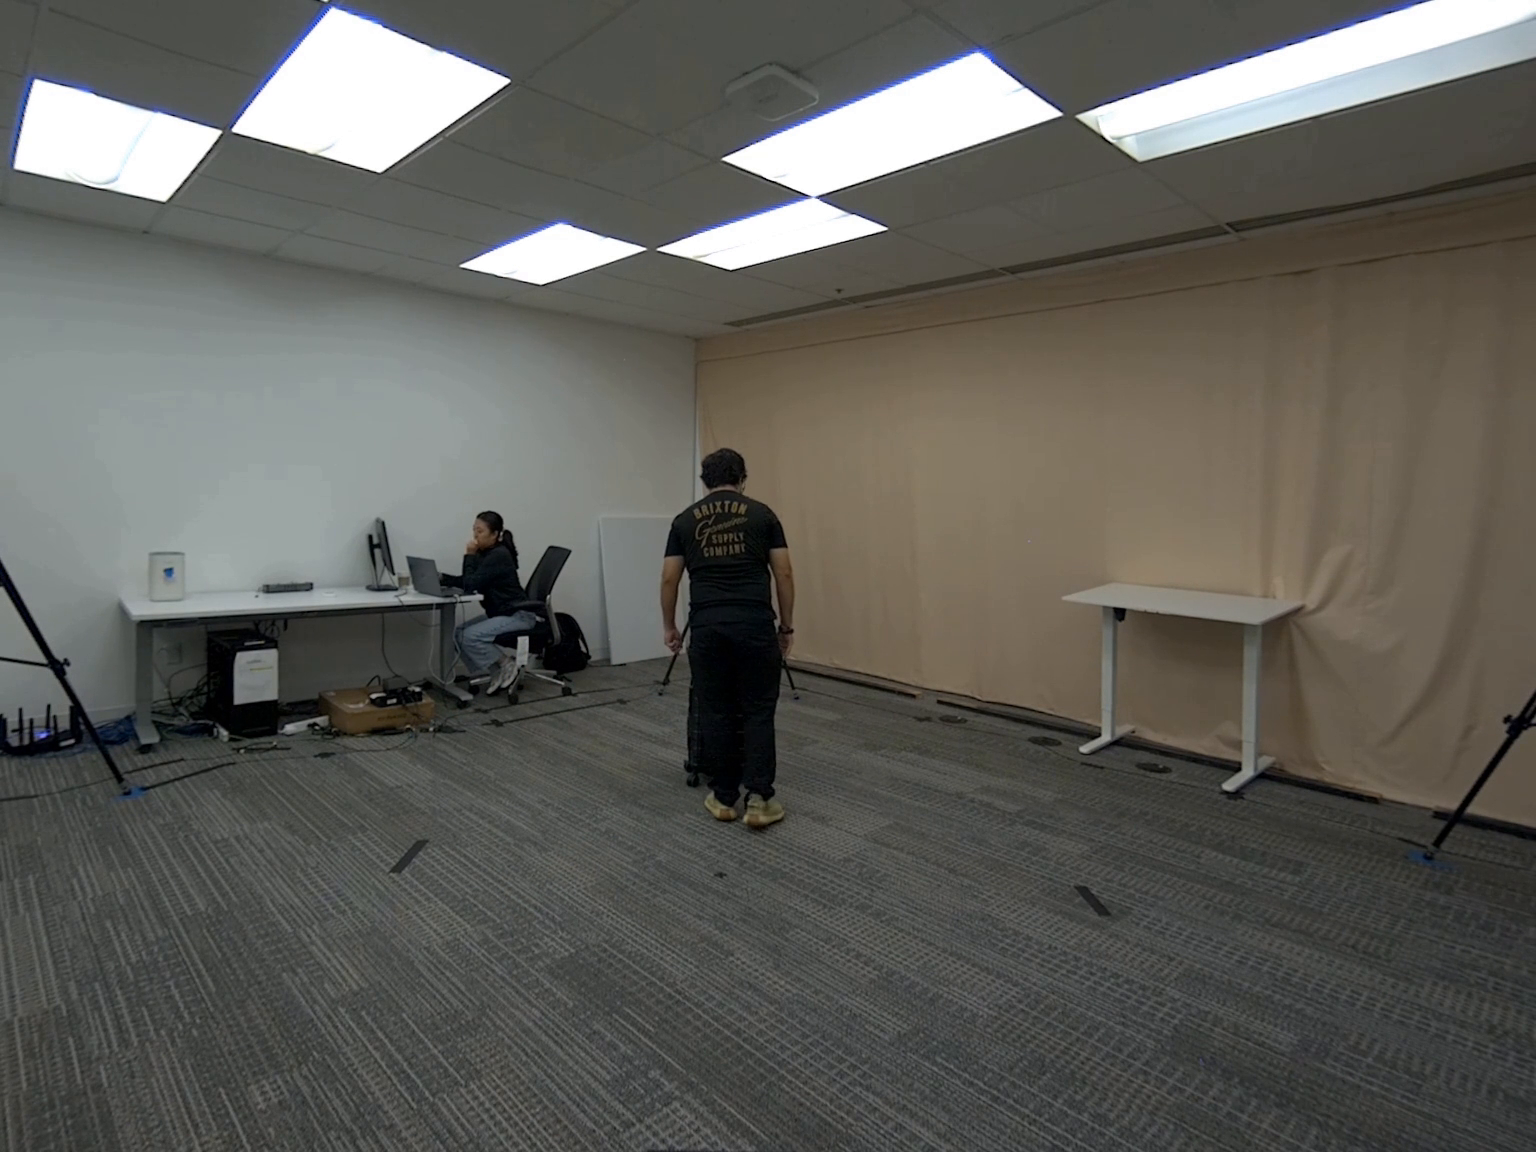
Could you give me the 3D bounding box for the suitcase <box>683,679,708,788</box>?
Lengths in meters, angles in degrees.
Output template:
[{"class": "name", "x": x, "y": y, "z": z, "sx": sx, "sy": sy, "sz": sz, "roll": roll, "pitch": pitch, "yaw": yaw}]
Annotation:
[{"class": "suitcase", "x": -0.223, "y": 0.734, "z": 4.190, "sx": 0.374, "sy": 0.548, "sz": 0.250, "roll": 1, "pitch": 2, "yaw": -5}]
